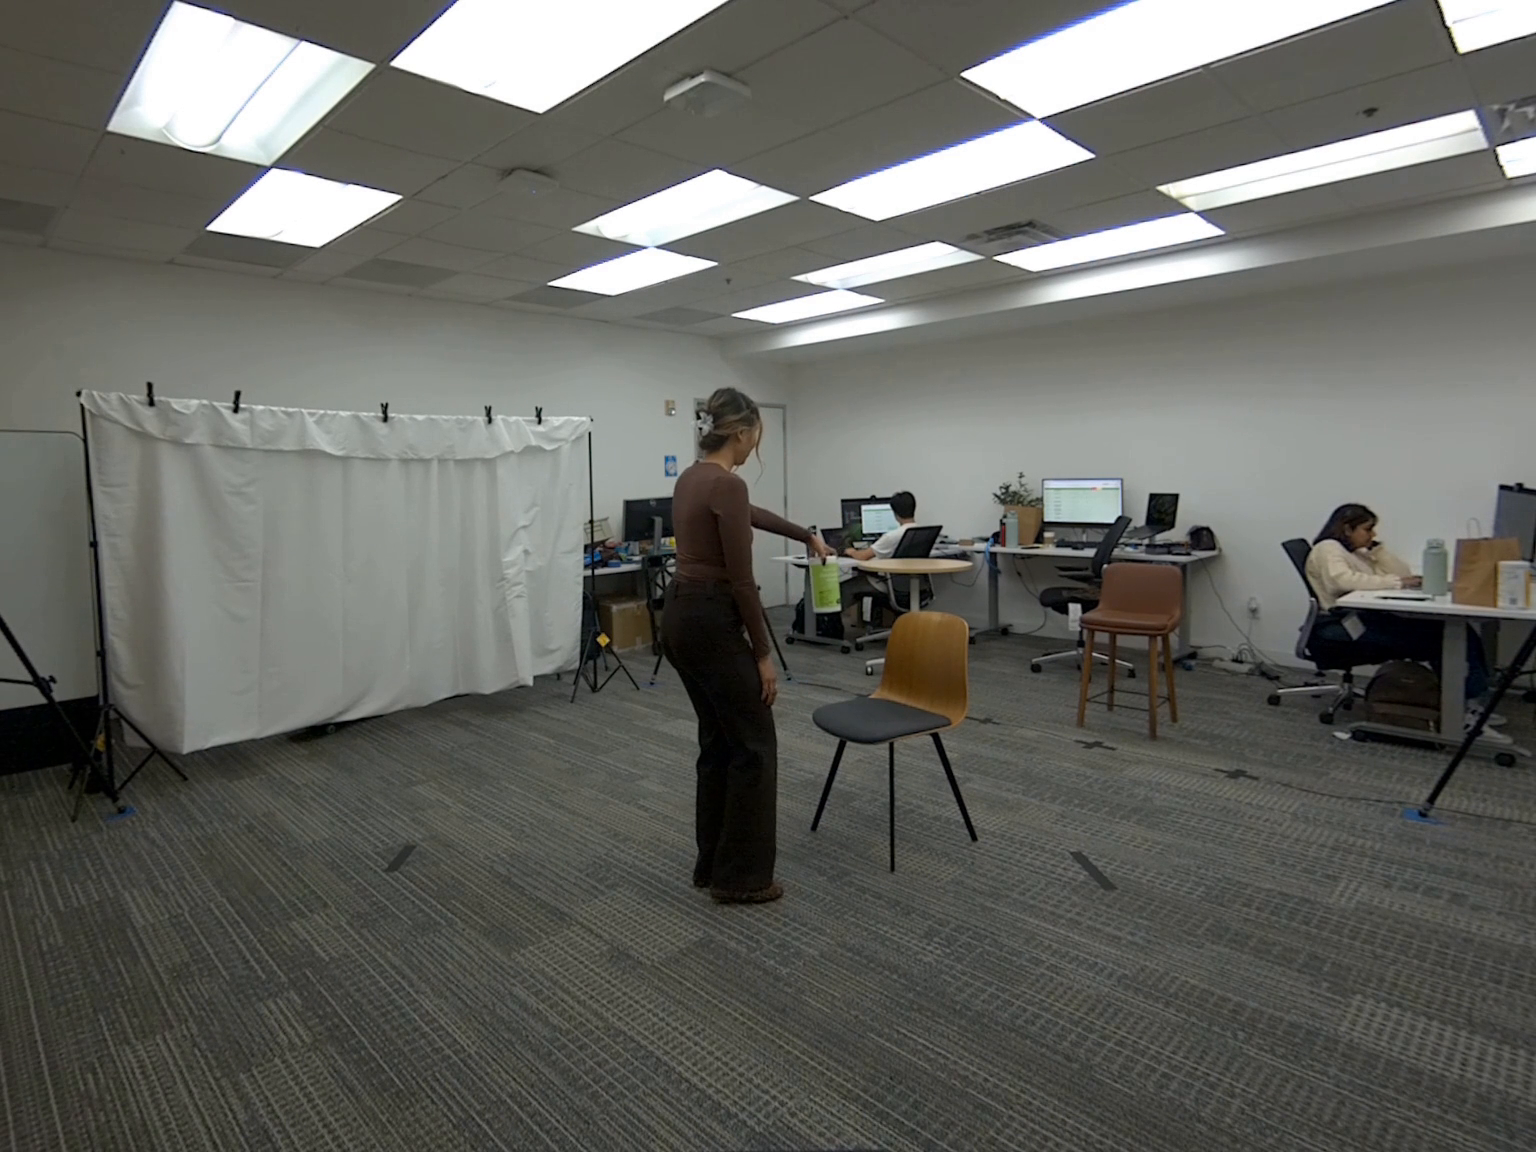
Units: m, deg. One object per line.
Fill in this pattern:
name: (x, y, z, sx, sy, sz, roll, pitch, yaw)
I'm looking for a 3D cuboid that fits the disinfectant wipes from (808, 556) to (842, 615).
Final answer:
disinfectant wipes: (0.223, 0.031, 3.310, 0.118, 0.217, 0.118, -4, 1, -2)
